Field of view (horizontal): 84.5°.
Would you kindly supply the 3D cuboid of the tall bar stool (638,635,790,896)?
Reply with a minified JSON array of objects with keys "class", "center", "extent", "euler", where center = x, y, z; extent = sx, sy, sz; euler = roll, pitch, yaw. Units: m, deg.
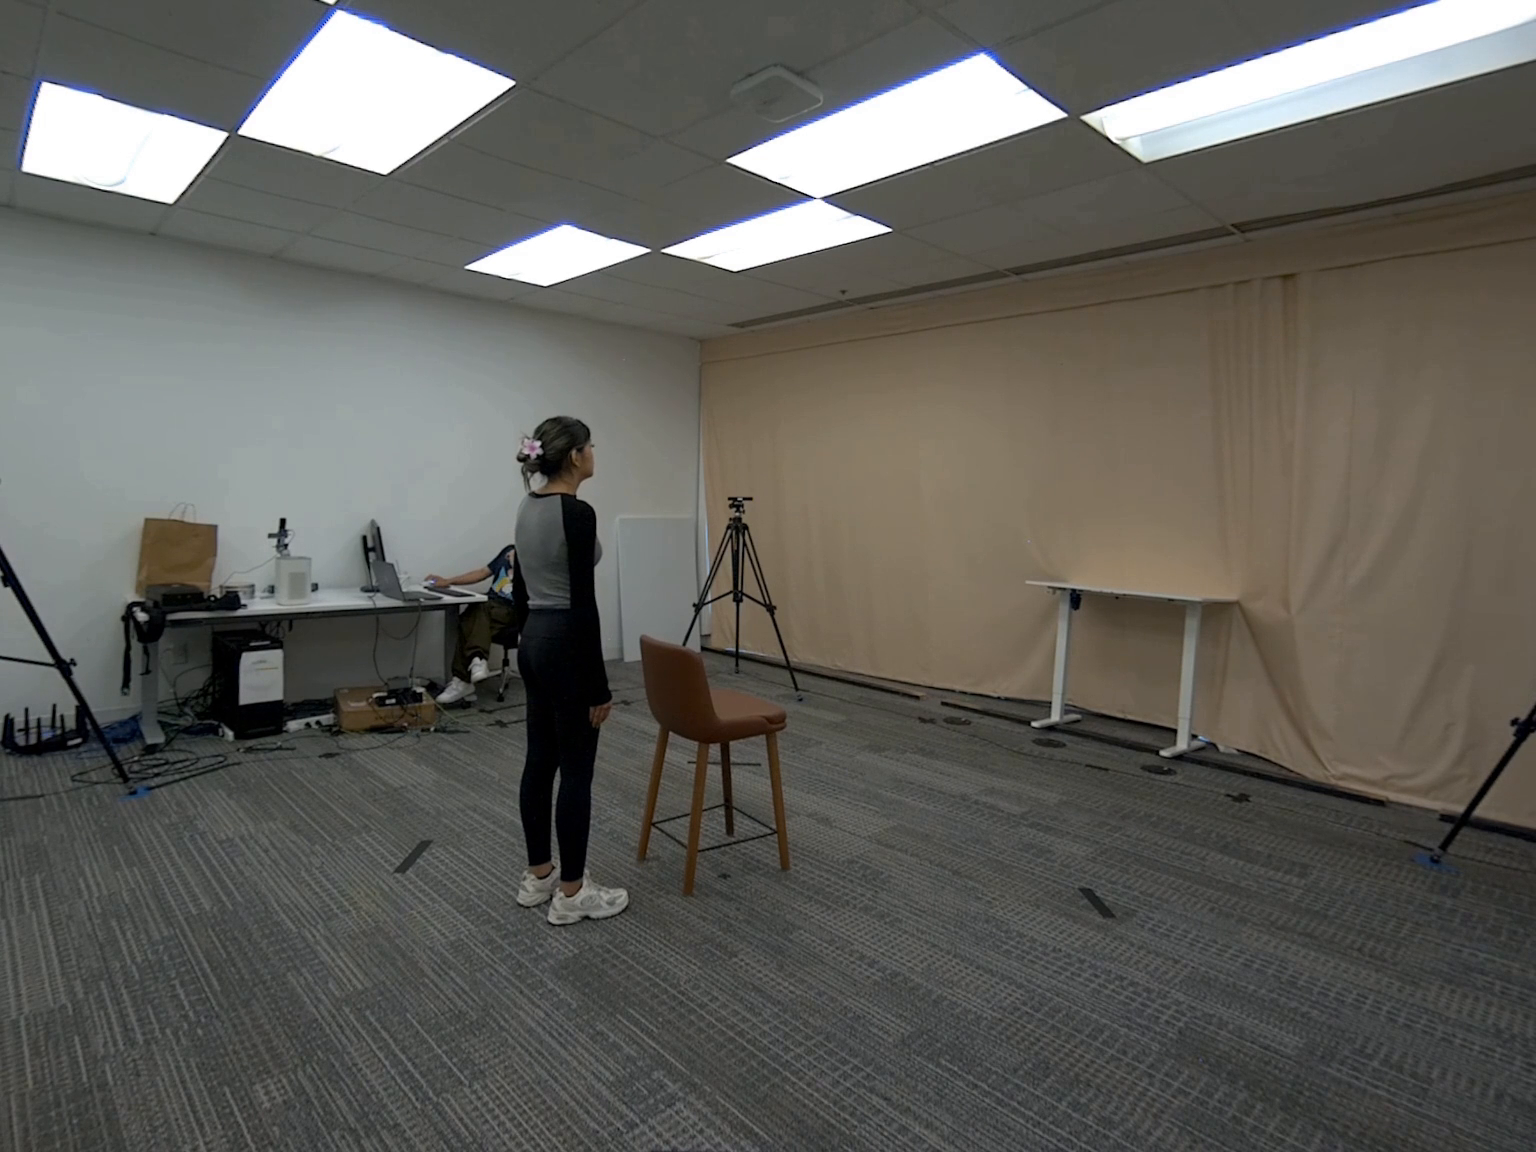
[{"class":"tall bar stool","center":[-0.223,0.659,3.184],"extent":[0.458,0.887,0.467],"euler":[-4,6,-35]}]
